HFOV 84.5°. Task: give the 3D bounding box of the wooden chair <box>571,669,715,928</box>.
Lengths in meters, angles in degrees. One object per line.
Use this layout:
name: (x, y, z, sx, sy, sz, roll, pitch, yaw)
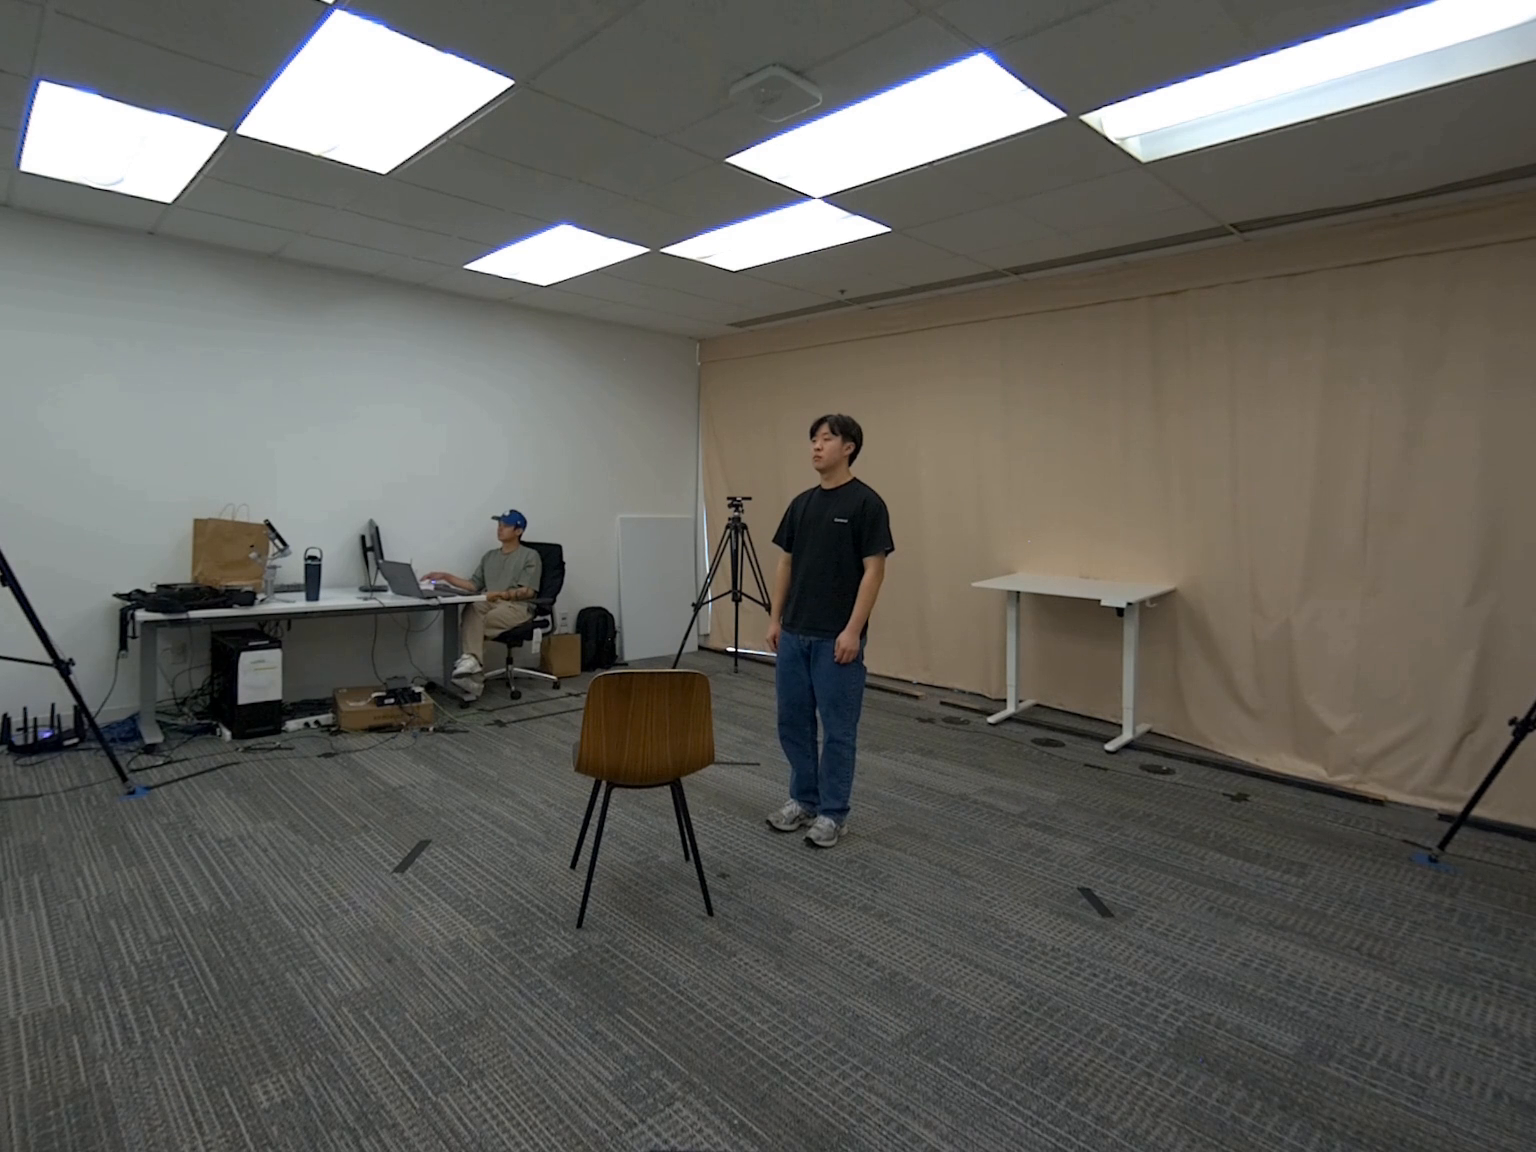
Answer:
wooden chair: (-0.448, 0.691, 2.940, 0.473, 0.873, 0.532, 0, 8, -15)
